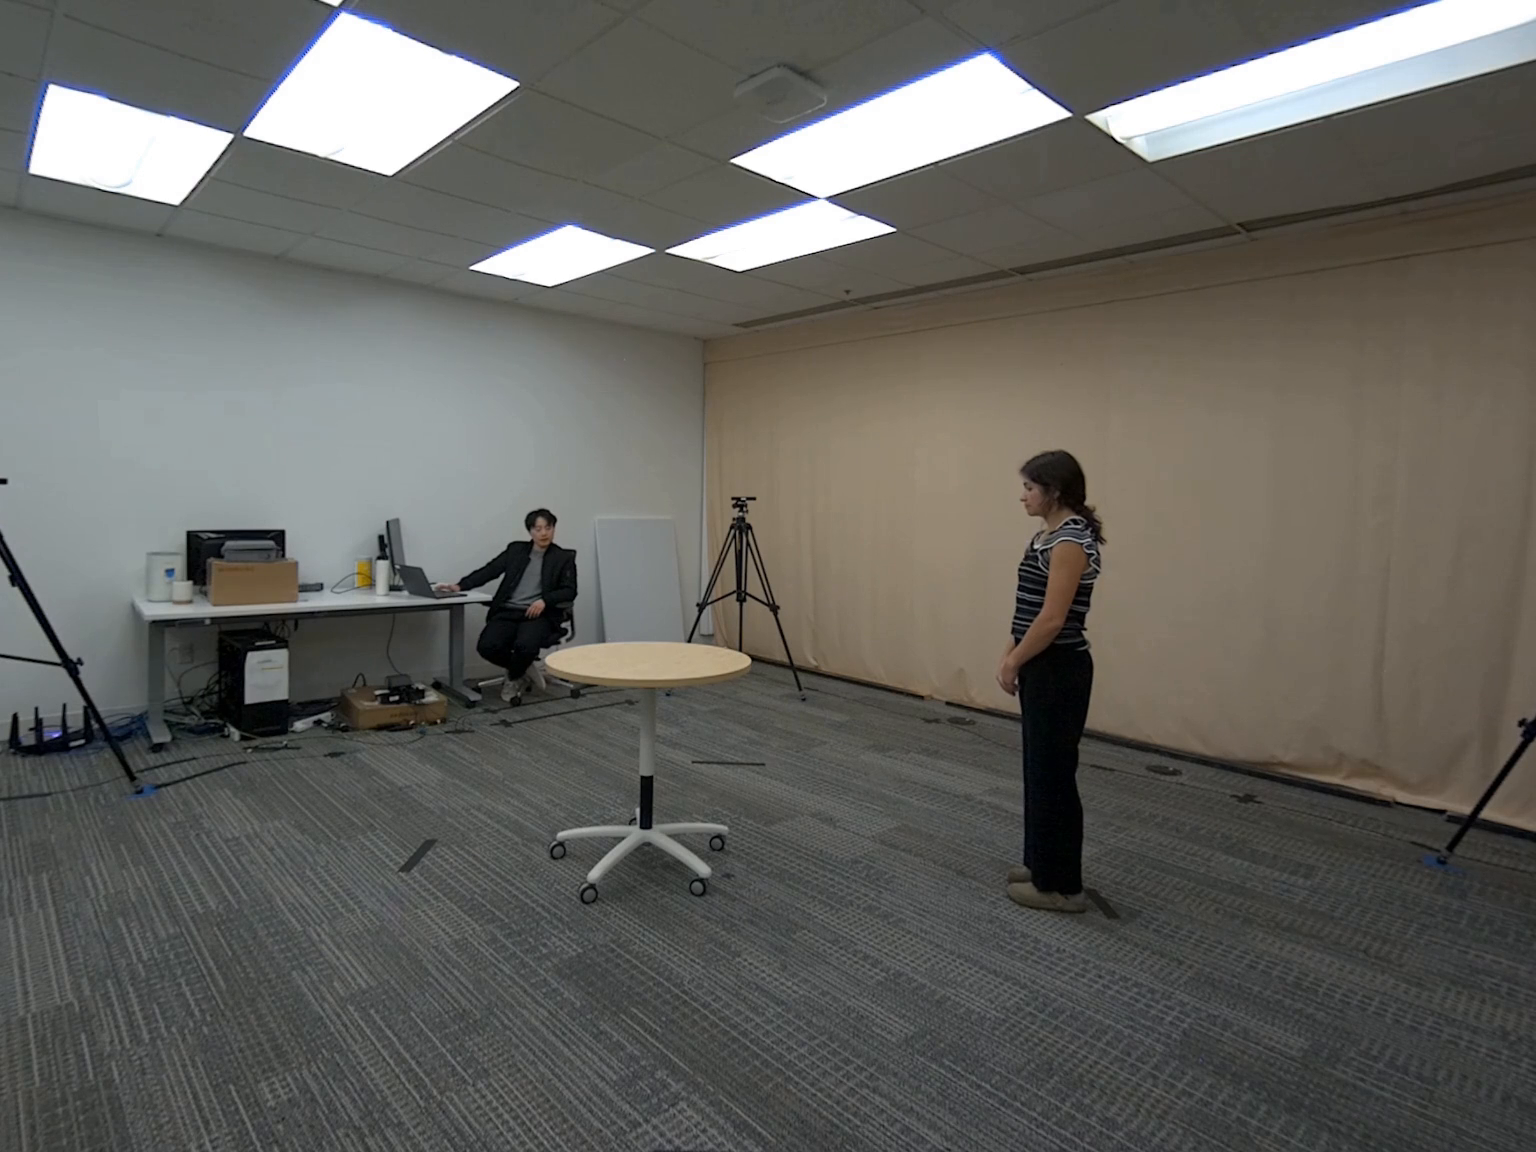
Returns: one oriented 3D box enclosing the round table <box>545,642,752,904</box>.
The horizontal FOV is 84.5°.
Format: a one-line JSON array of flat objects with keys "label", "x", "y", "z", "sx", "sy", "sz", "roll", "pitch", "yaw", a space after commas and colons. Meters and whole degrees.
[{"label": "round table", "x": -0.459, "y": 0.697, "z": 3.154, "sx": 0.784, "sy": 0.784, "sz": 0.787, "roll": 1, "pitch": 4, "yaw": -1}]
